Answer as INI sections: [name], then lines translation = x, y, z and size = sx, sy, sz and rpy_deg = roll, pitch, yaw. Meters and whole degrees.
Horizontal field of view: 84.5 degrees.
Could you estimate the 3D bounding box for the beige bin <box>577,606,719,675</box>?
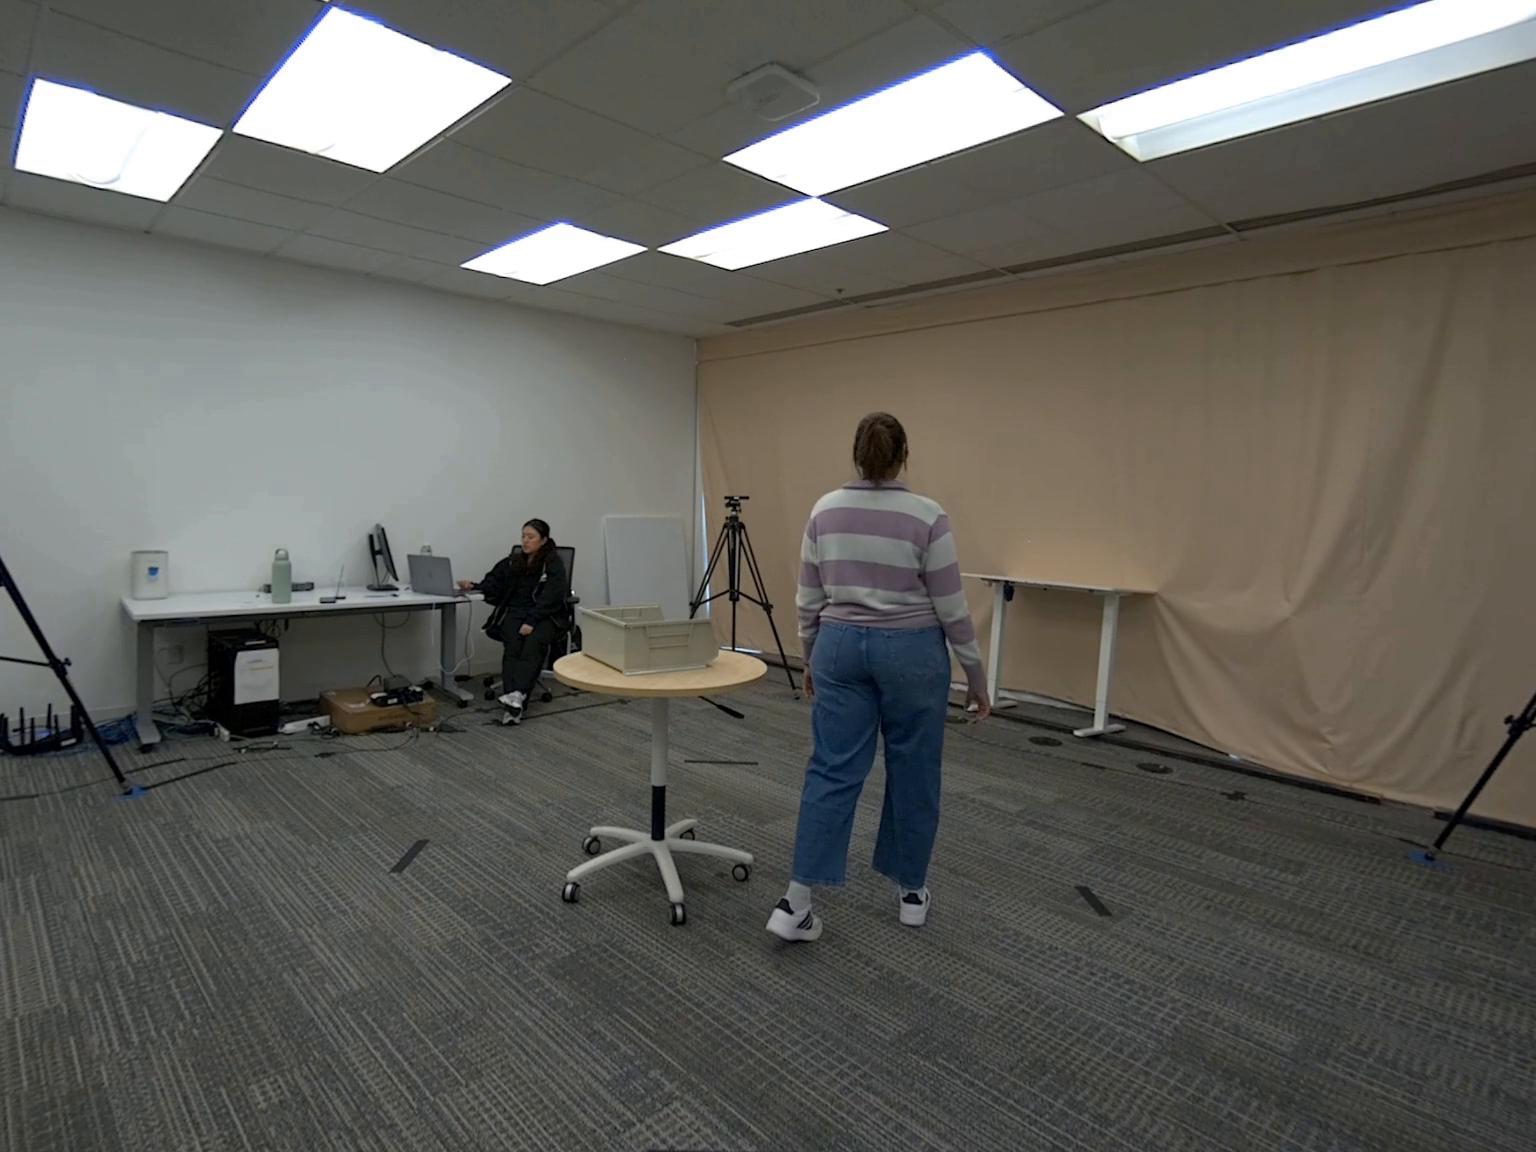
[beige bin]
translation = -0.446, 0.224, 3.094
size = 0.369, 0.188, 0.433
rpy_deg = -3, 7, -32
